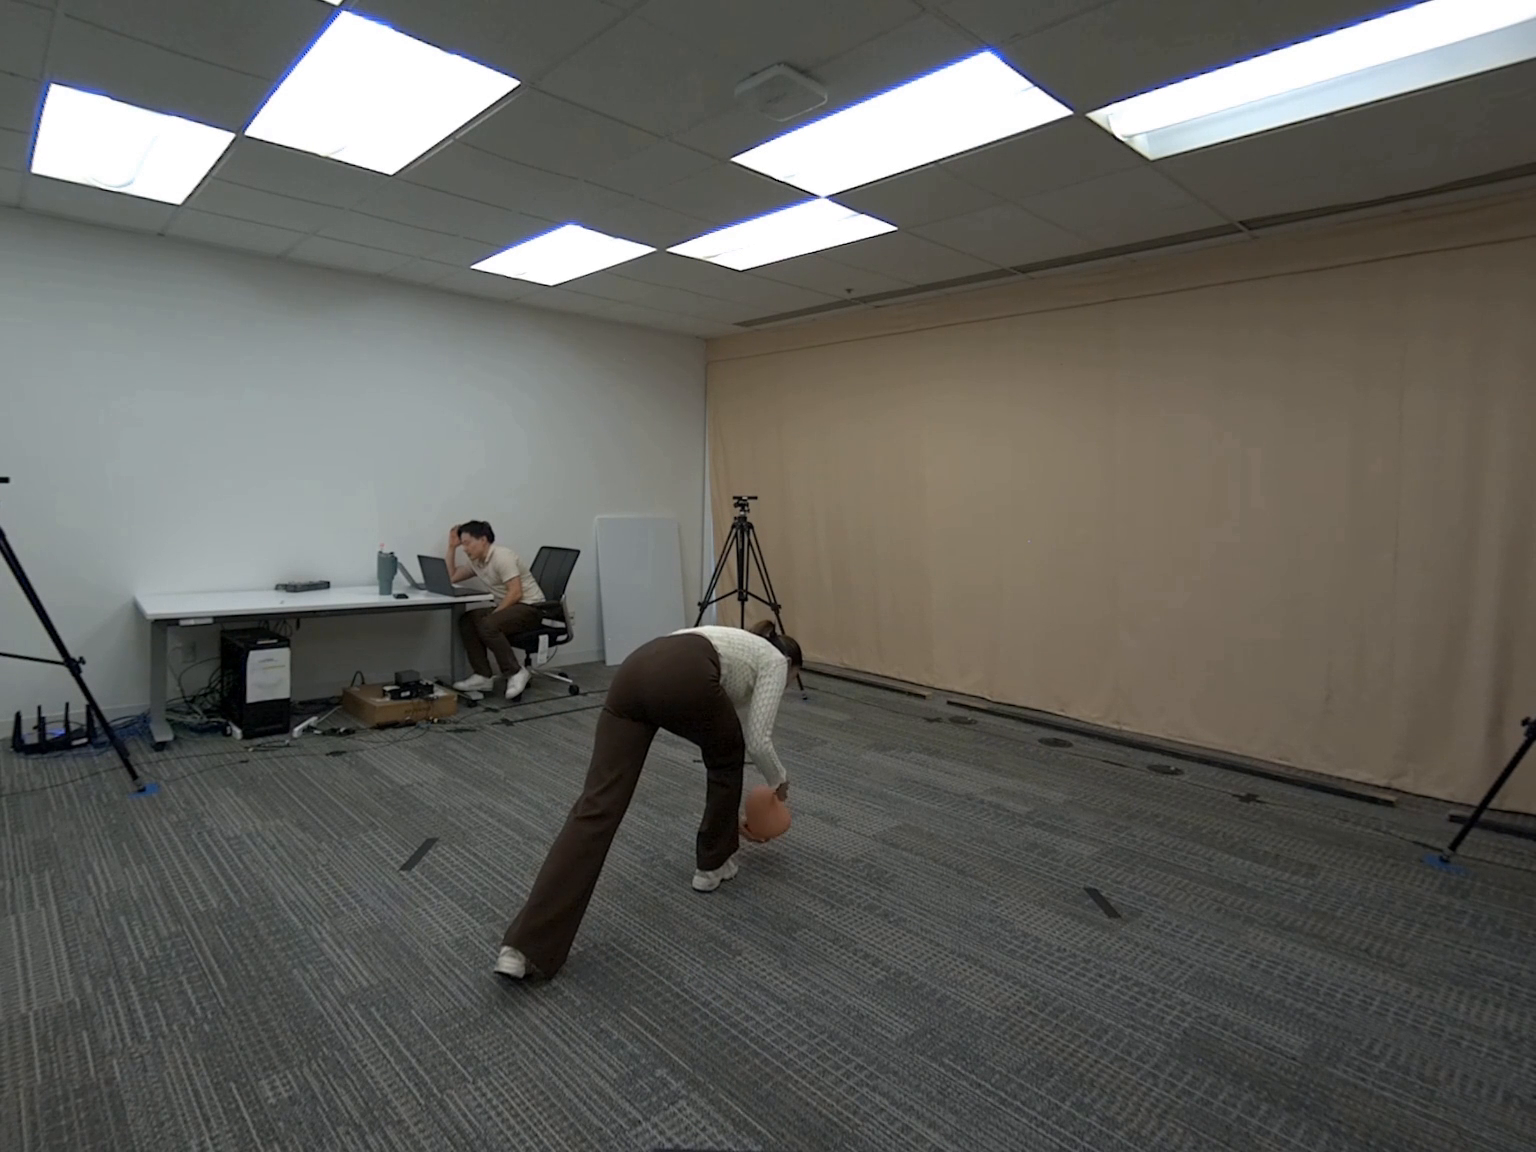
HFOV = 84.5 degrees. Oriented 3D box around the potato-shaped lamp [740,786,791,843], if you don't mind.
[{"bbox_3d":[-0.017,0.904,3.257,0.167,0.197,0.169,-10,4,24],"label":"potato-shaped lamp"}]
